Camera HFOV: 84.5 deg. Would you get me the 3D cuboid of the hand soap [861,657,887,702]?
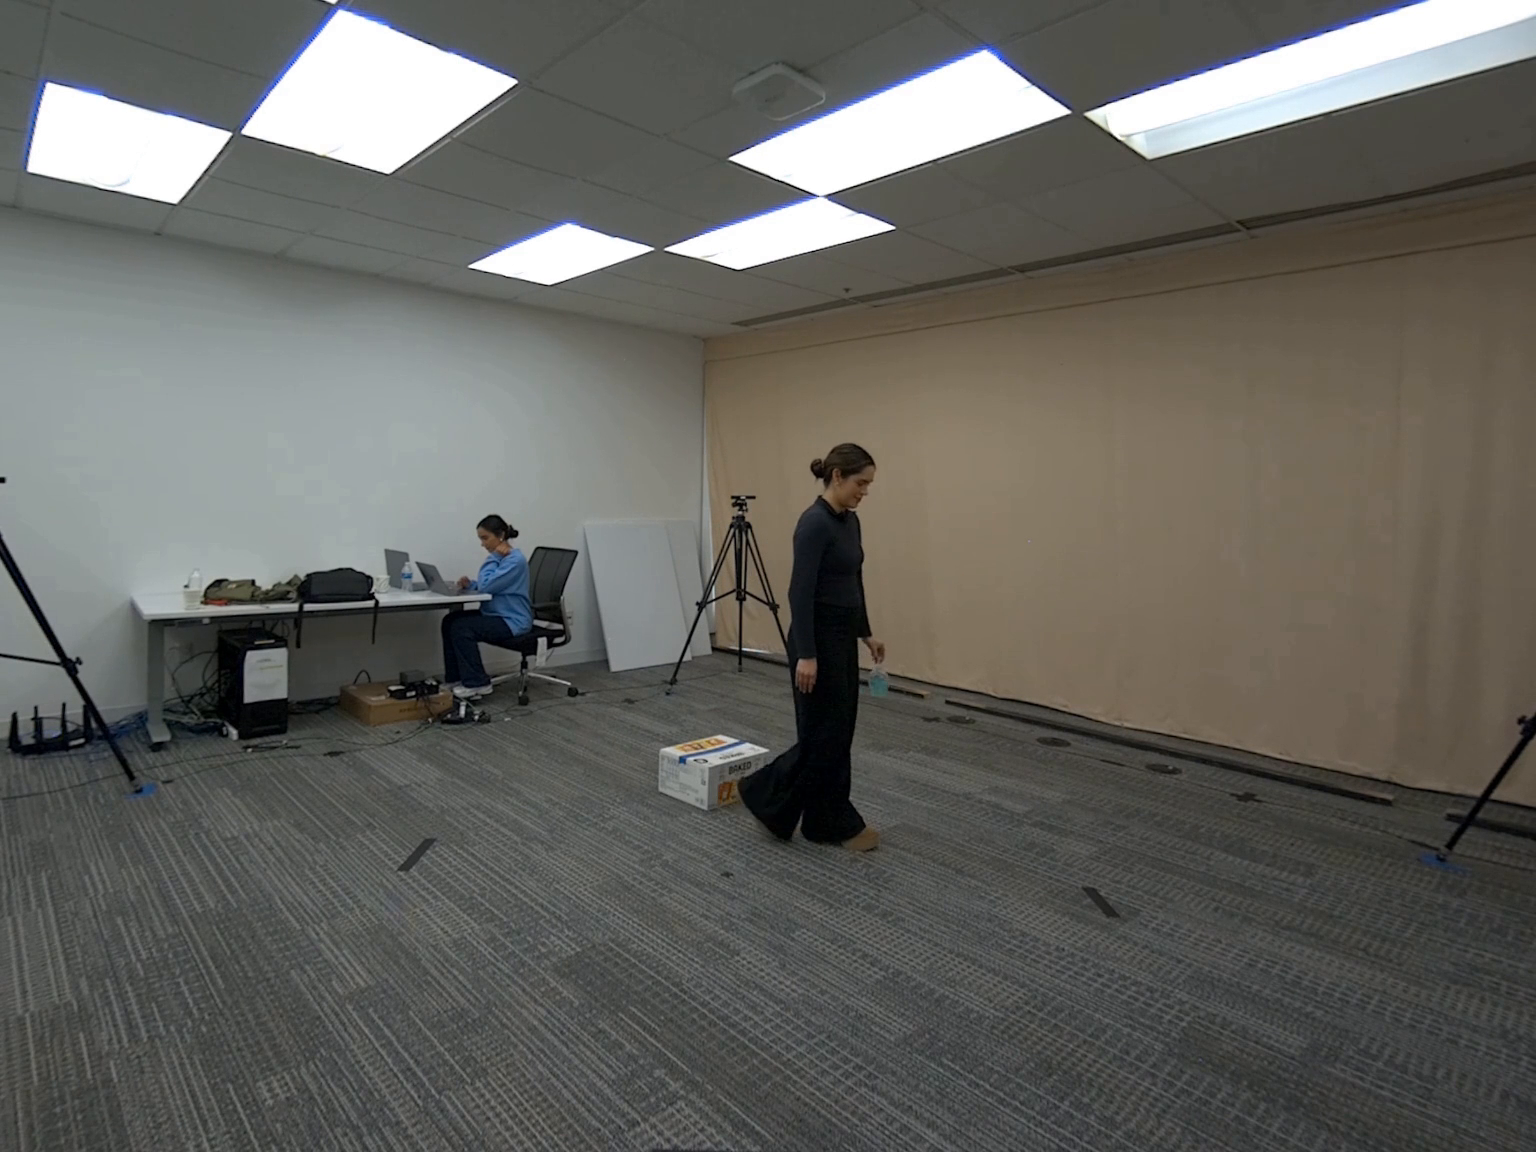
[{"bbox_3d":[0.443,0.433,3.562,0.086,0.168,0.043,5,1,19],"label":"hand soap"}]
